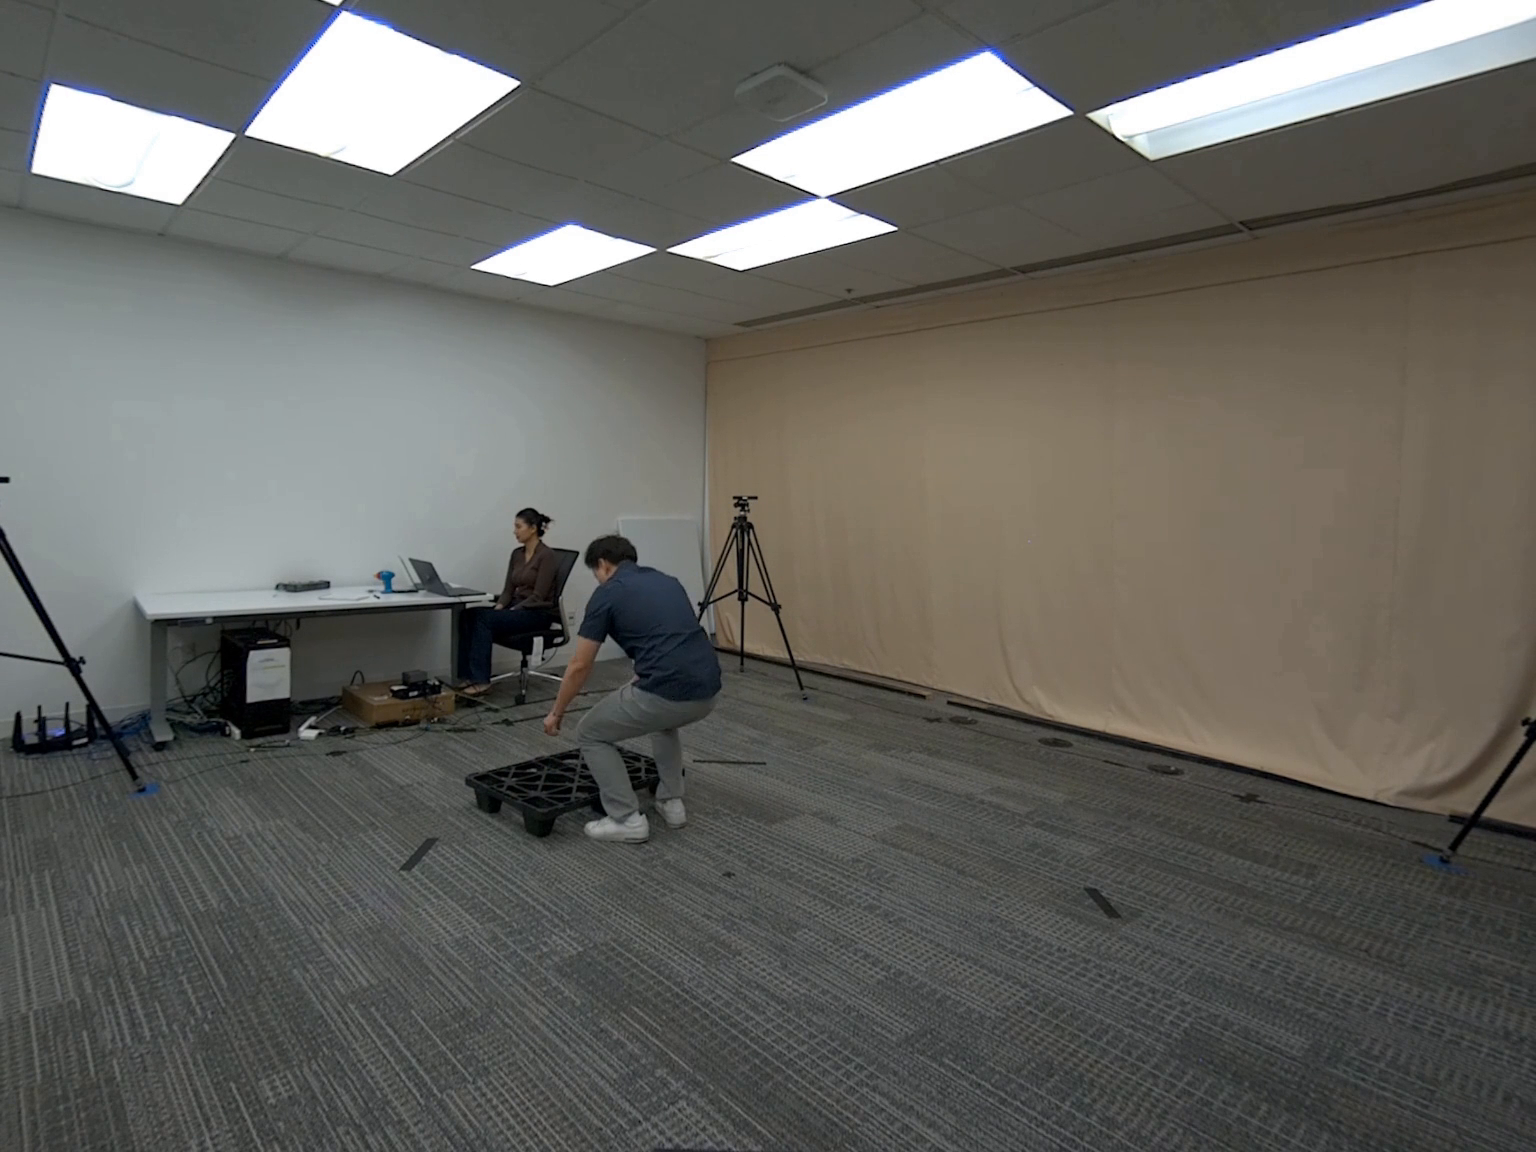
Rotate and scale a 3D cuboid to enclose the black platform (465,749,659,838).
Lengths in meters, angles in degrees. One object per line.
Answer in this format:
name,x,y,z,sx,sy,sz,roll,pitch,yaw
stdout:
black platform,-0.879,0.957,3.819,0.620,0.143,0.787,5,6,41
